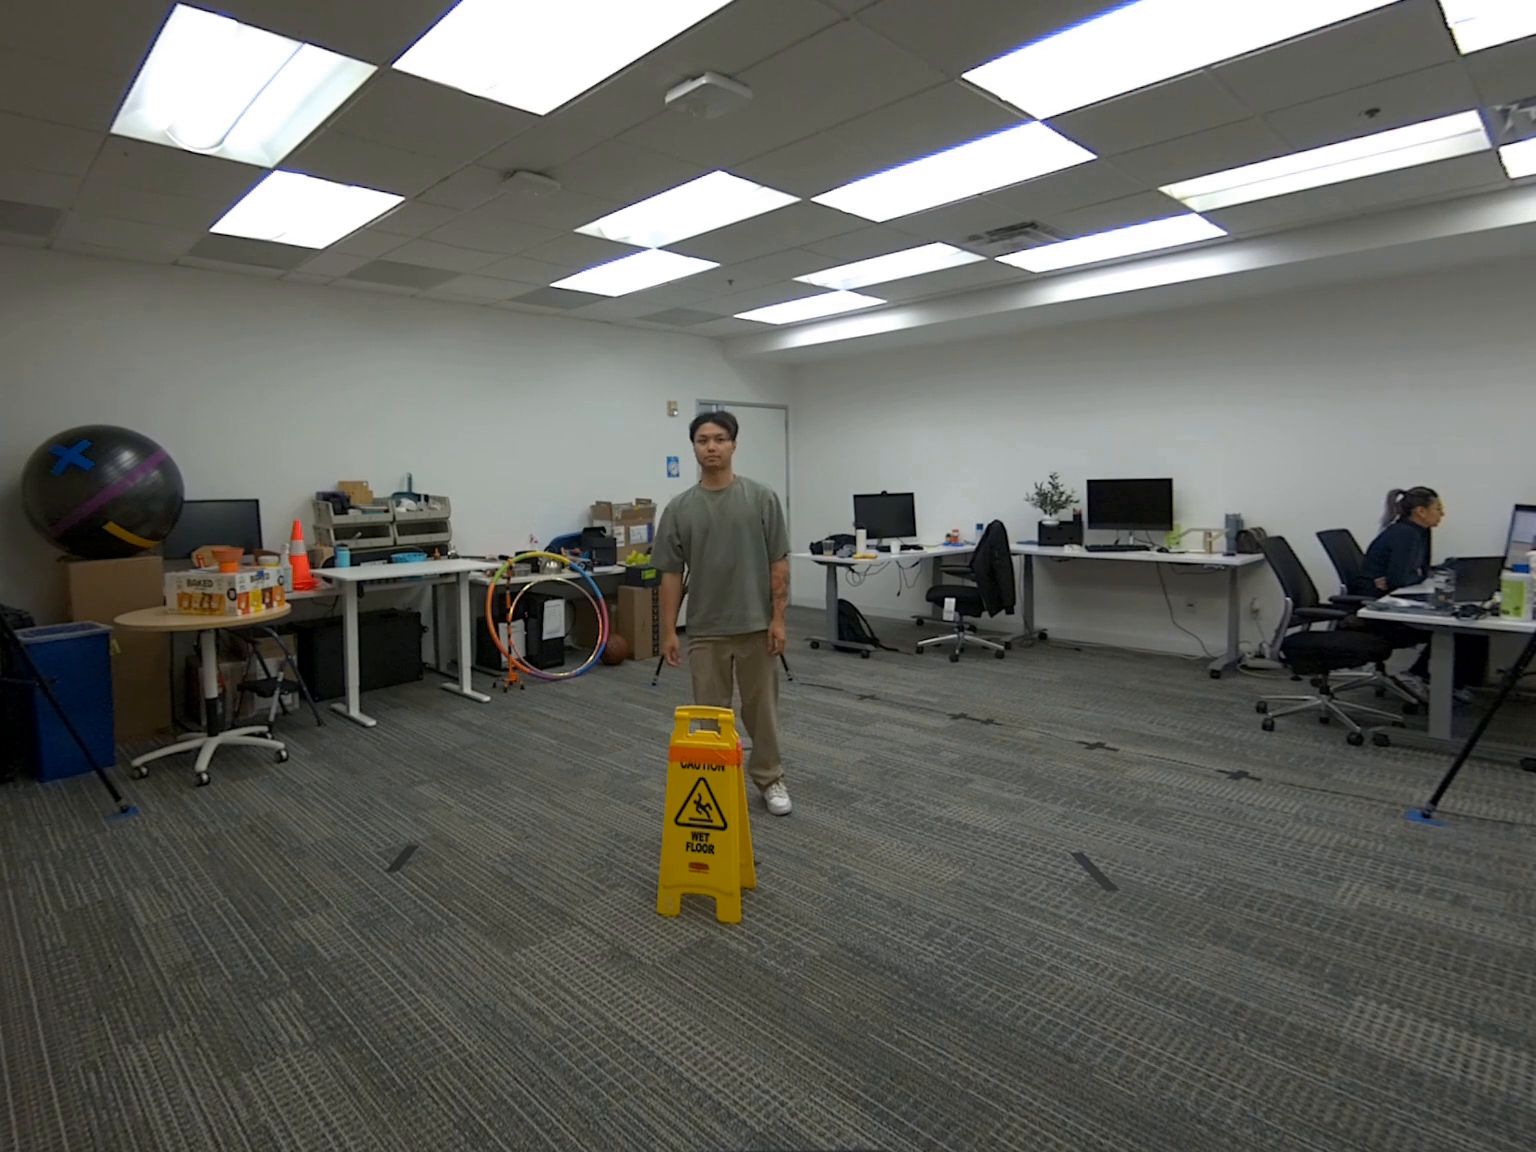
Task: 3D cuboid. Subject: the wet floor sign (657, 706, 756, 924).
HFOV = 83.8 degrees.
[{"bbox_3d":[-0.200,0.764,2.815,0.286,0.643,0.287,0,5,13],"label":"wet floor sign"}]
